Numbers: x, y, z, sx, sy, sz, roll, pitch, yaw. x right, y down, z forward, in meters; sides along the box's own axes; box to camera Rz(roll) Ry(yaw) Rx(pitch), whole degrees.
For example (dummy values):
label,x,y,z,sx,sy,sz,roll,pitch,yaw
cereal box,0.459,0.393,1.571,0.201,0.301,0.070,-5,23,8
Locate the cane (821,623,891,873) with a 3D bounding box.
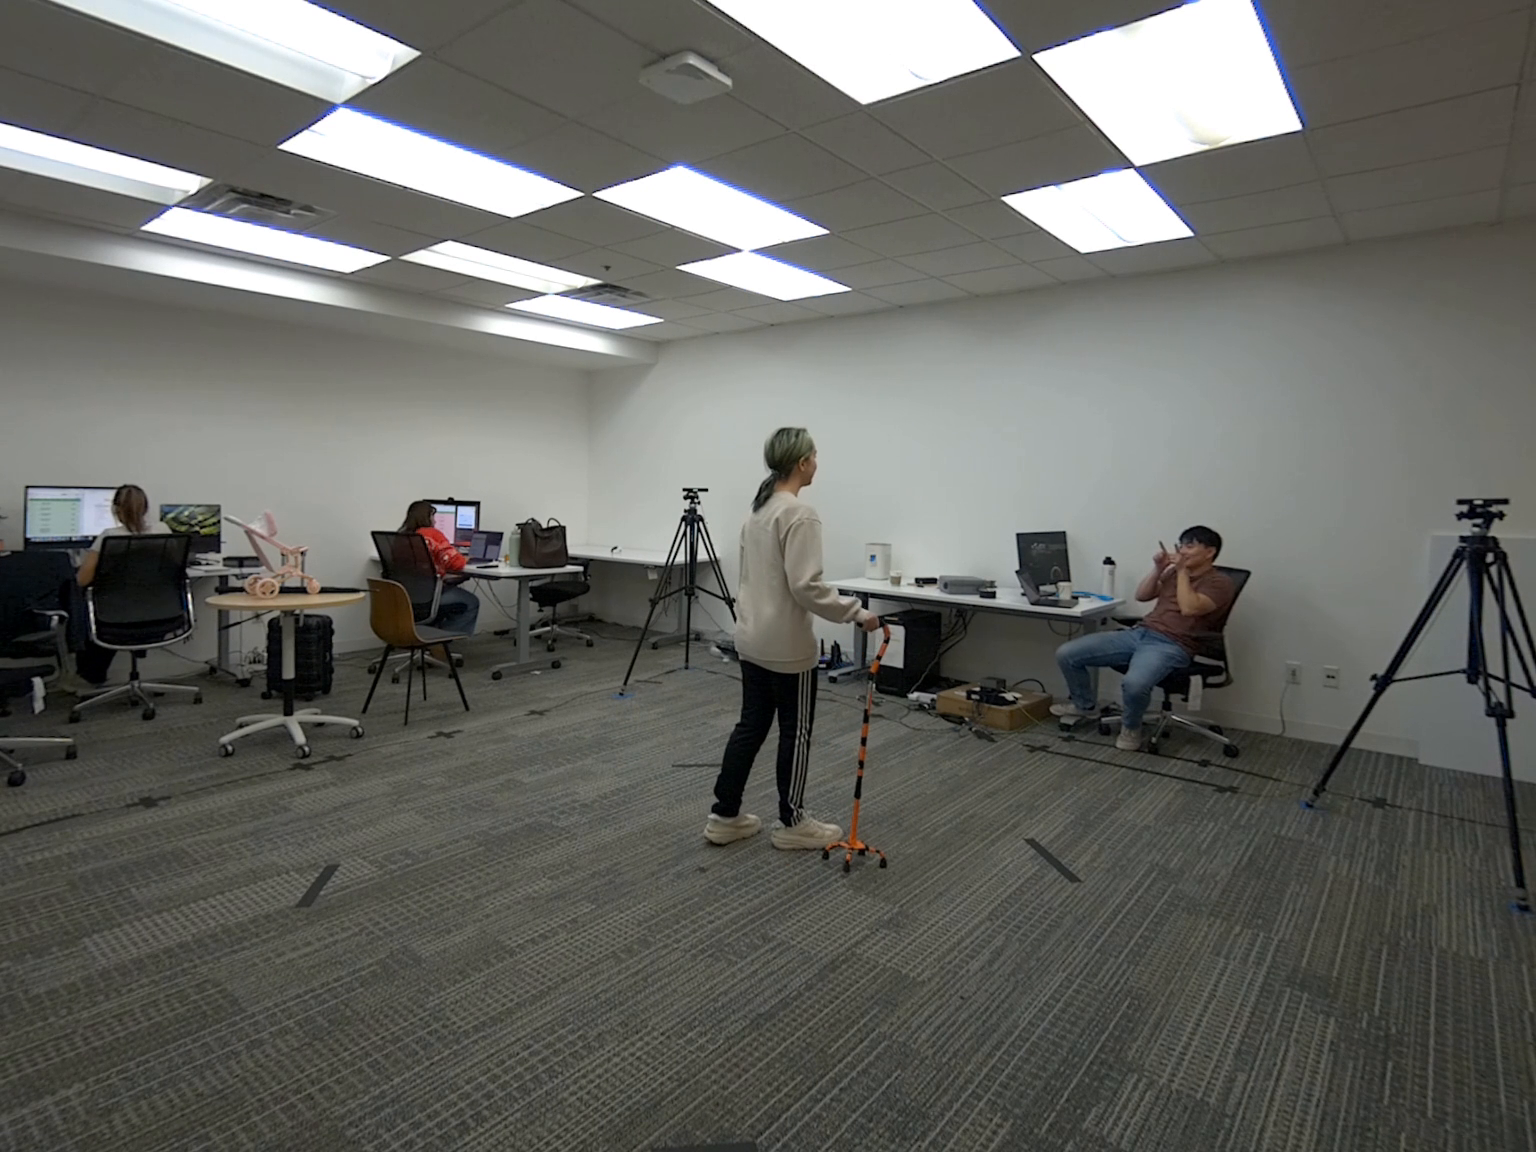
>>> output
label,x,y,z,sx,sy,sz,roll,pitch,yaw
cane,0.366,0.618,3.176,0.200,0.908,0.156,7,0,-36
